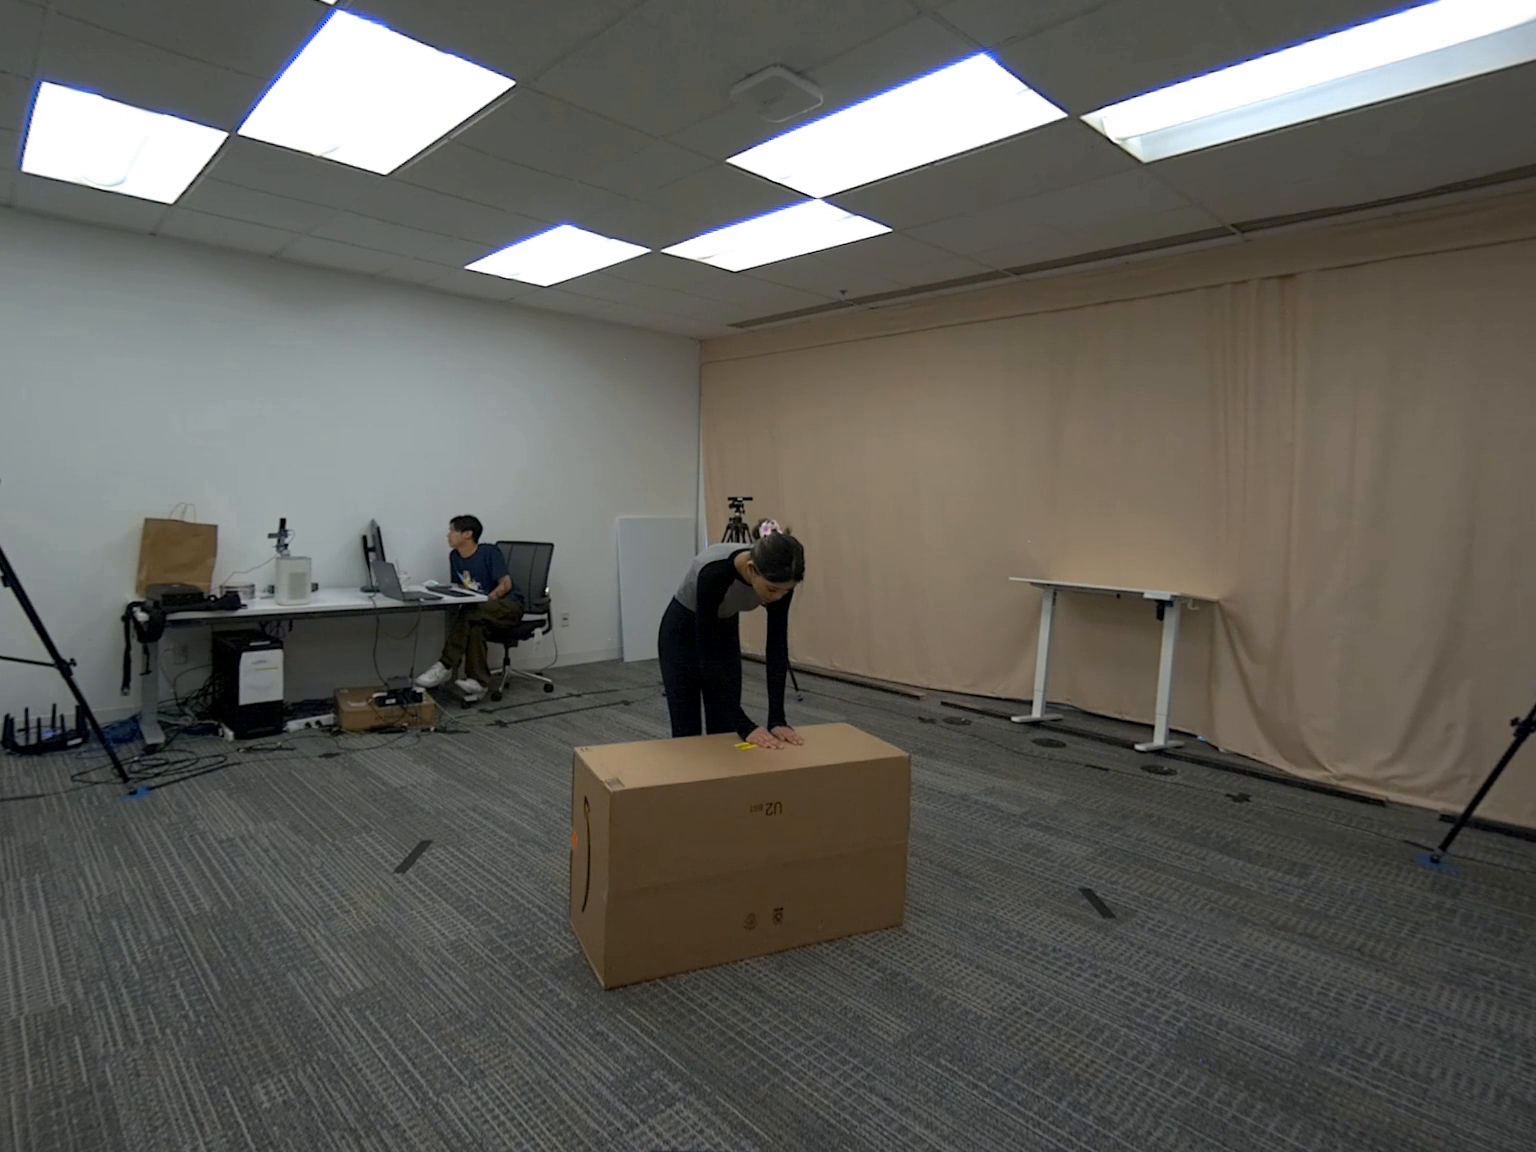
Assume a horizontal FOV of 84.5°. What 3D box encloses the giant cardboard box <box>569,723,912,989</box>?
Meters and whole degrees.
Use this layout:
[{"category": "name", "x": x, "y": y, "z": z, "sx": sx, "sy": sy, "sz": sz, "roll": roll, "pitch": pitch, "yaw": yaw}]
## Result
[{"category": "giant cardboard box", "x": -0.091, "y": 0.856, "z": 2.741, "sx": 1.008, "sy": 0.576, "sz": 0.435, "roll": 0, "pitch": 4, "yaw": -24}]
